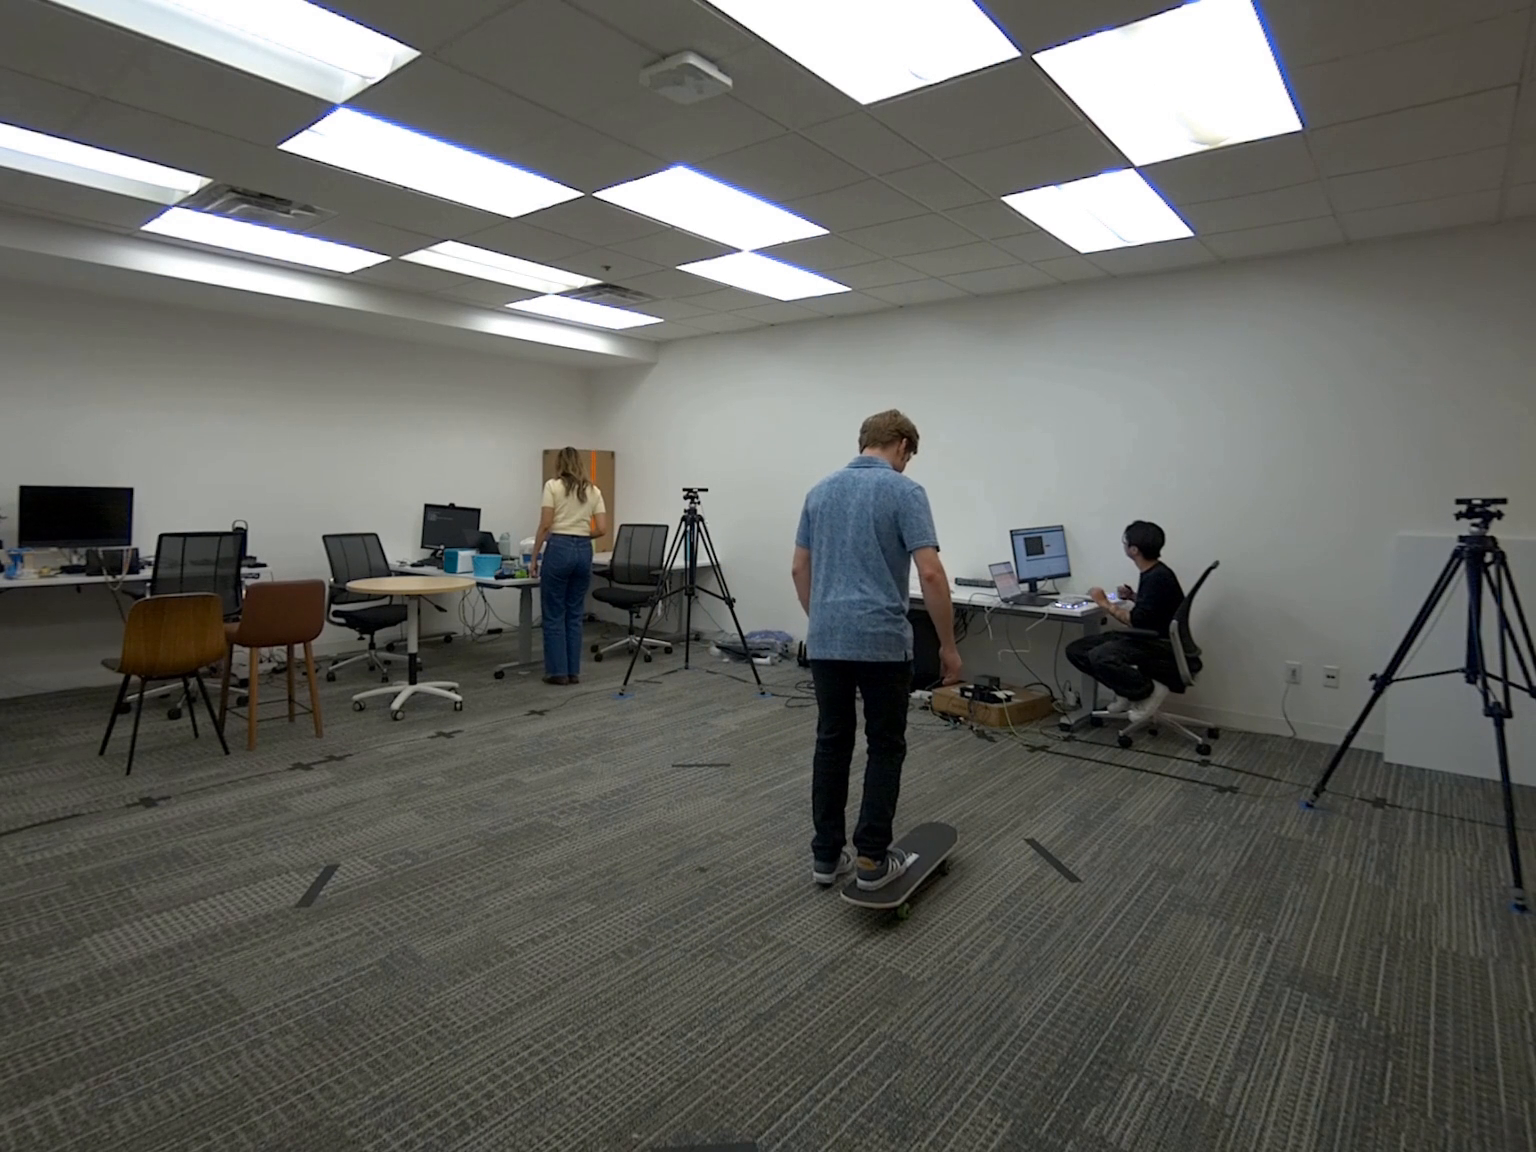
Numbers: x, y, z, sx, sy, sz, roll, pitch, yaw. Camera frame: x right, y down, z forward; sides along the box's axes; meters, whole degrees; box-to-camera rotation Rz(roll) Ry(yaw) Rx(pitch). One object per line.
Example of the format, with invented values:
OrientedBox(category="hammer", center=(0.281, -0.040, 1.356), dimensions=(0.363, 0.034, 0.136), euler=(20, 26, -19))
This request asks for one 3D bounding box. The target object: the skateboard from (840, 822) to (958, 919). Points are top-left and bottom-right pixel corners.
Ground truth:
OrientedBox(category="skateboard", center=(0.473, 1.039, 2.999), dimensions=(0.199, 0.110, 0.765), euler=(2, 6, 31))
